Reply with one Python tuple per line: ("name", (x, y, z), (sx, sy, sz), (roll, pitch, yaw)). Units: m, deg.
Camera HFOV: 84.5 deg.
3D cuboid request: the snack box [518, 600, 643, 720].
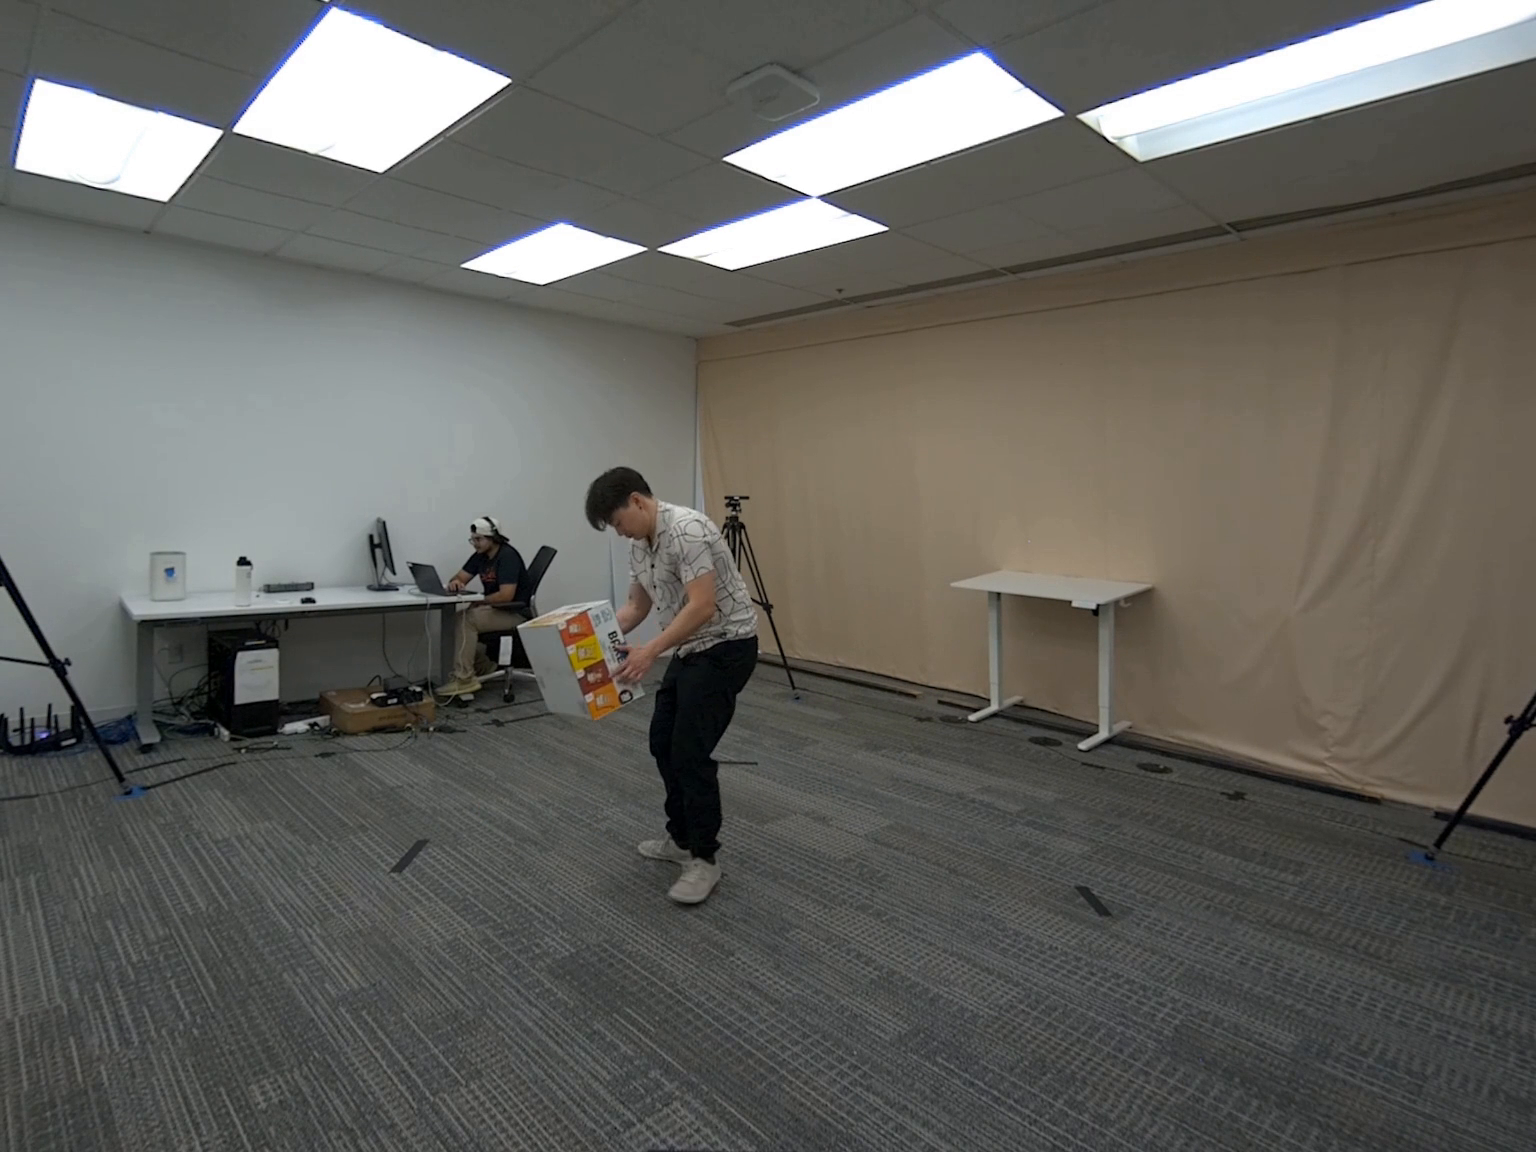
("snack box", (-0.660, 0.292, 2.905), (0.203, 0.338, 0.412), (-24, 8, -34))
